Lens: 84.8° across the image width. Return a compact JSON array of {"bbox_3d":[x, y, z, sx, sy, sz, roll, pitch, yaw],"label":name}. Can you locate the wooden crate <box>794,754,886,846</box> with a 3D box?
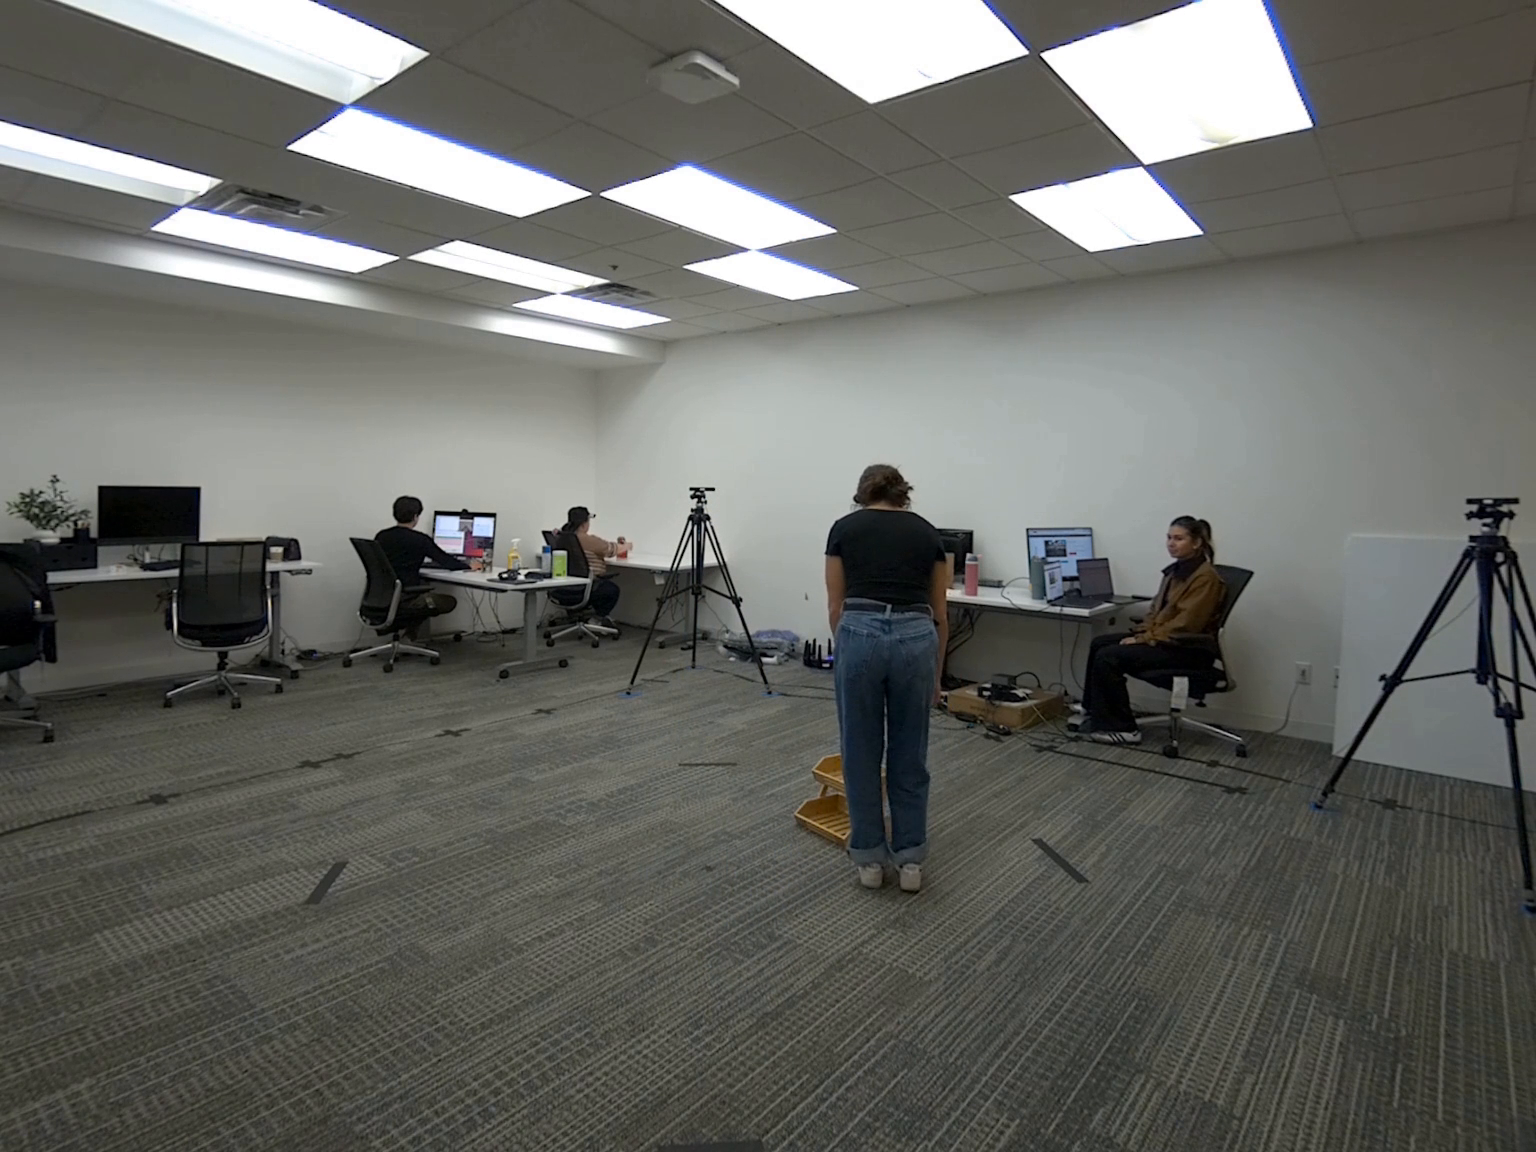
[{"bbox_3d":[0.315,0.905,3.490,0.293,0.272,0.335,-1,5,-38],"label":"wooden crate"}]
